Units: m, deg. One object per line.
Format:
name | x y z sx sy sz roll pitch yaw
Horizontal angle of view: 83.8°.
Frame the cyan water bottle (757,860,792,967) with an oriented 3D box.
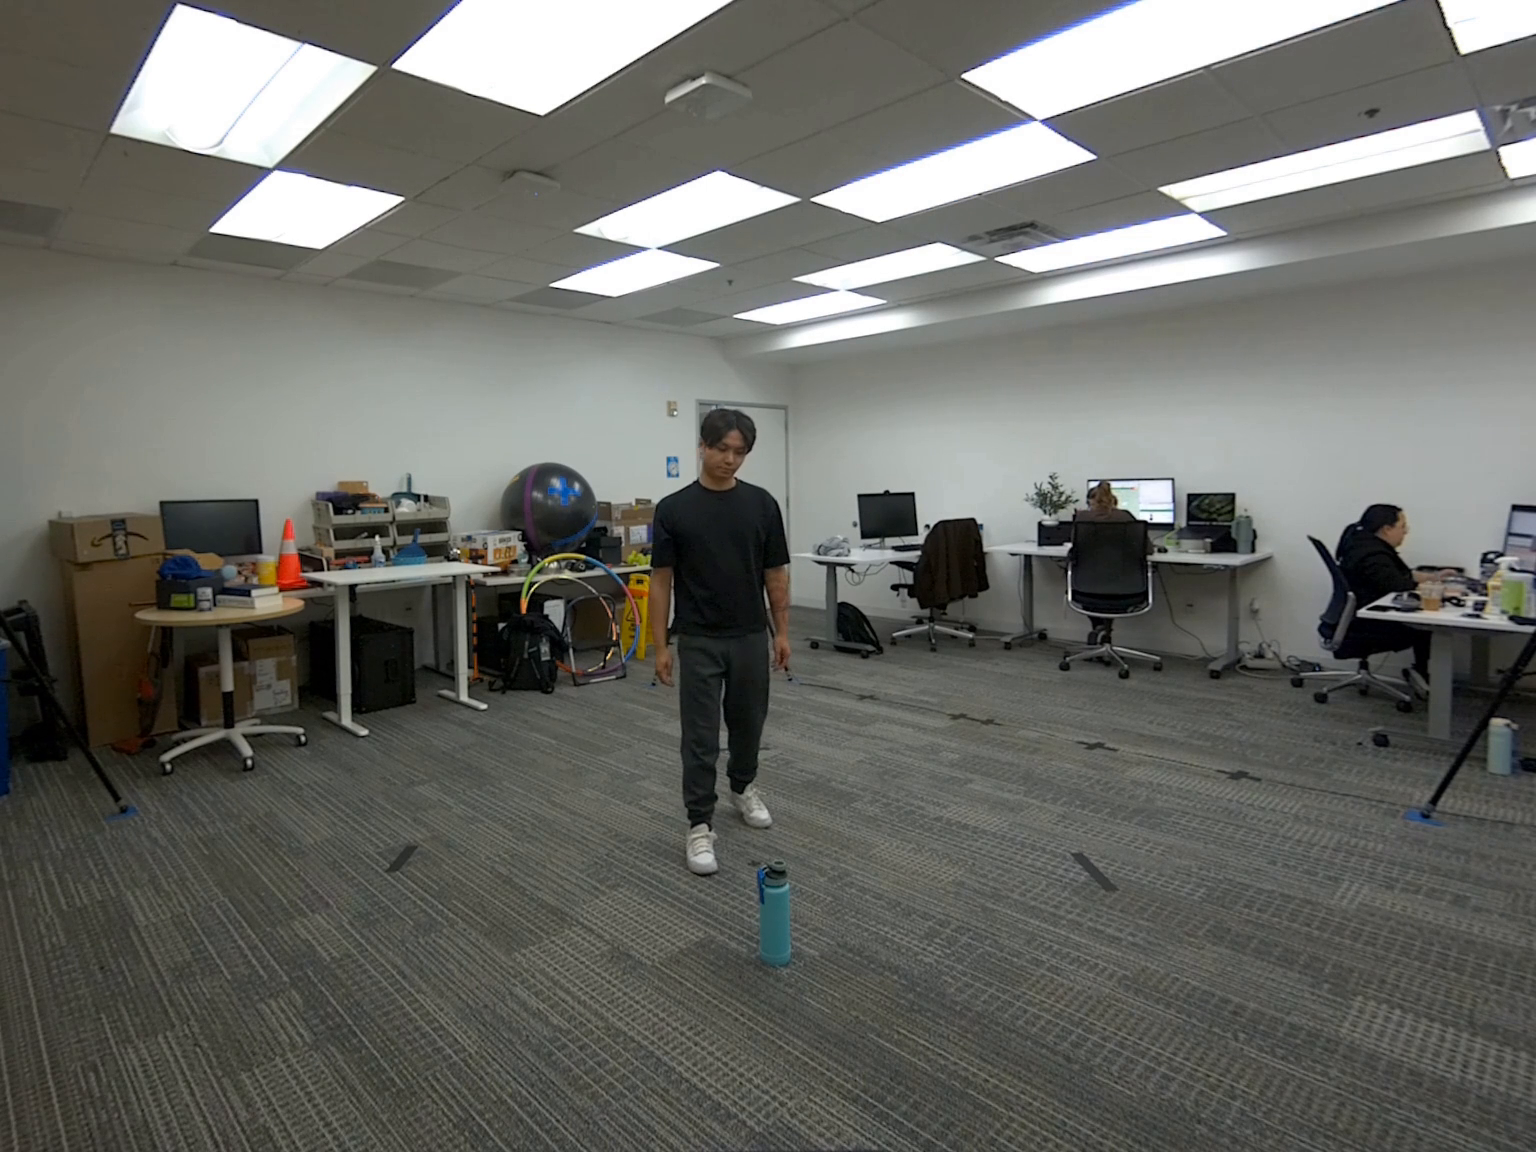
cyan water bottle | 0.022 0.981 2.482 0.092 0.282 0.092 -2 3 -2
